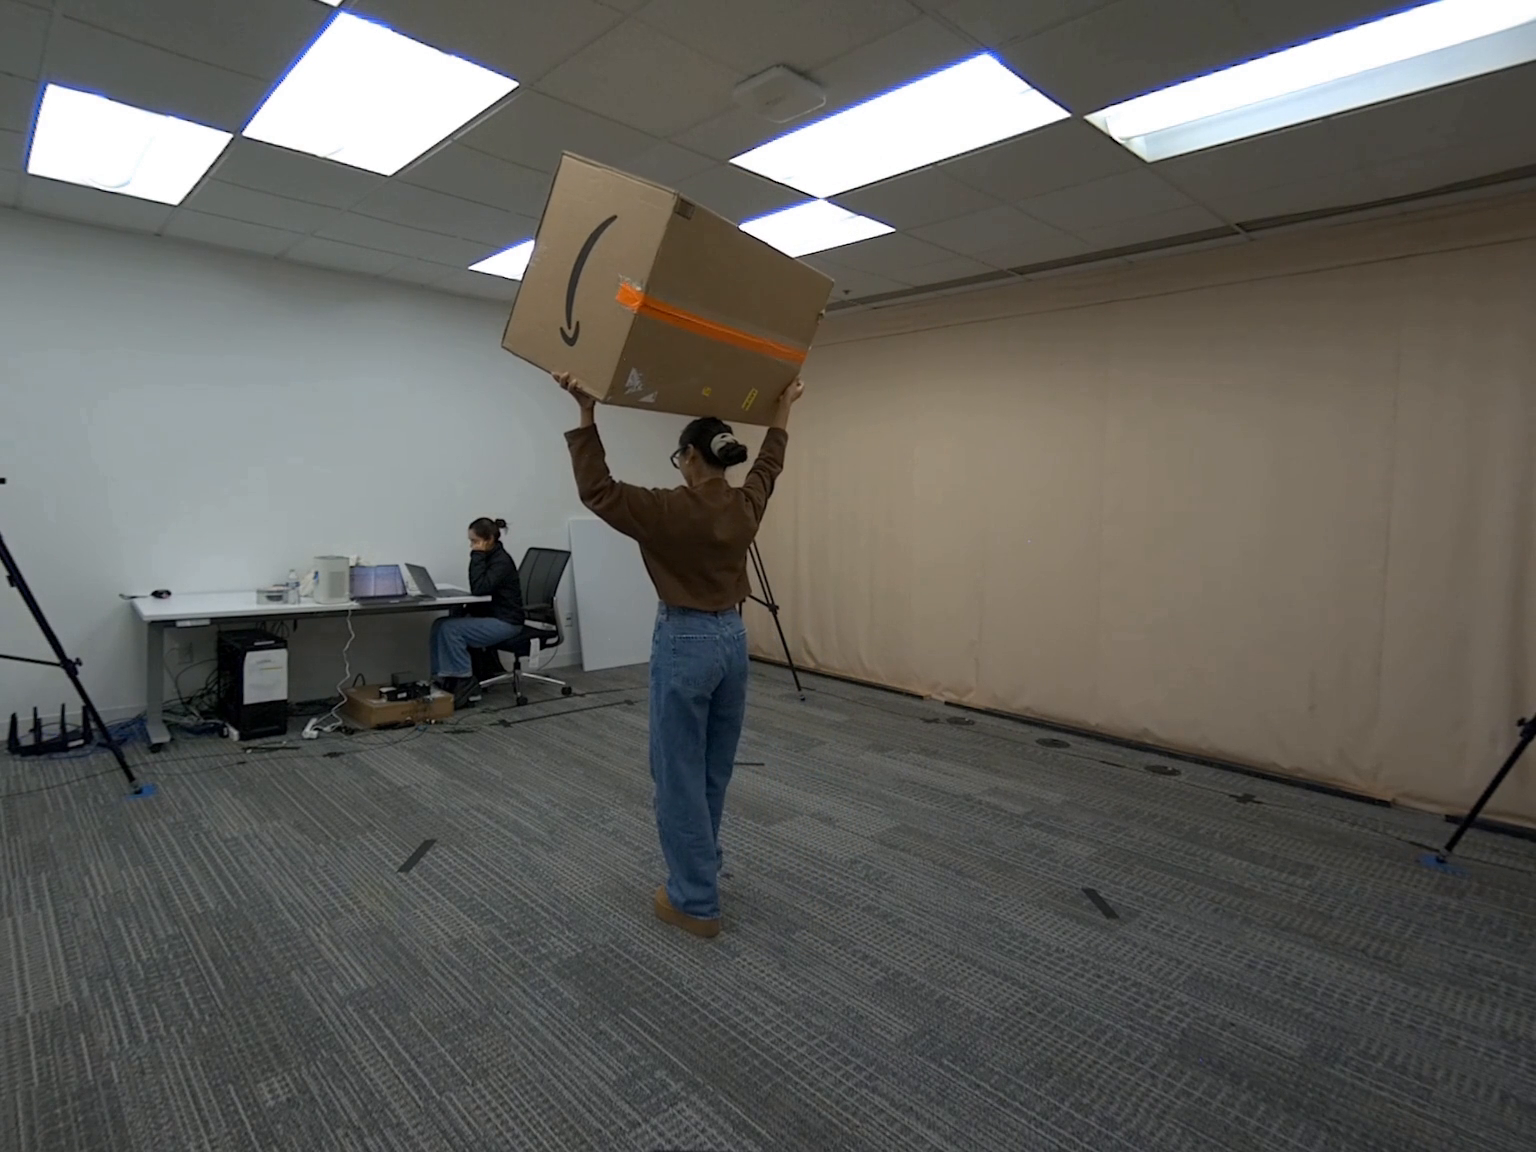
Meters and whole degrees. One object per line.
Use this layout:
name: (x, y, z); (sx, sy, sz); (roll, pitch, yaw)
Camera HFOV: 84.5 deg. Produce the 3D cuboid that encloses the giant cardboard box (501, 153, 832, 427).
giant cardboard box: (-0.271, -0.856, 2.729); (0.436, 0.574, 1.008); (31, 18, 23)
